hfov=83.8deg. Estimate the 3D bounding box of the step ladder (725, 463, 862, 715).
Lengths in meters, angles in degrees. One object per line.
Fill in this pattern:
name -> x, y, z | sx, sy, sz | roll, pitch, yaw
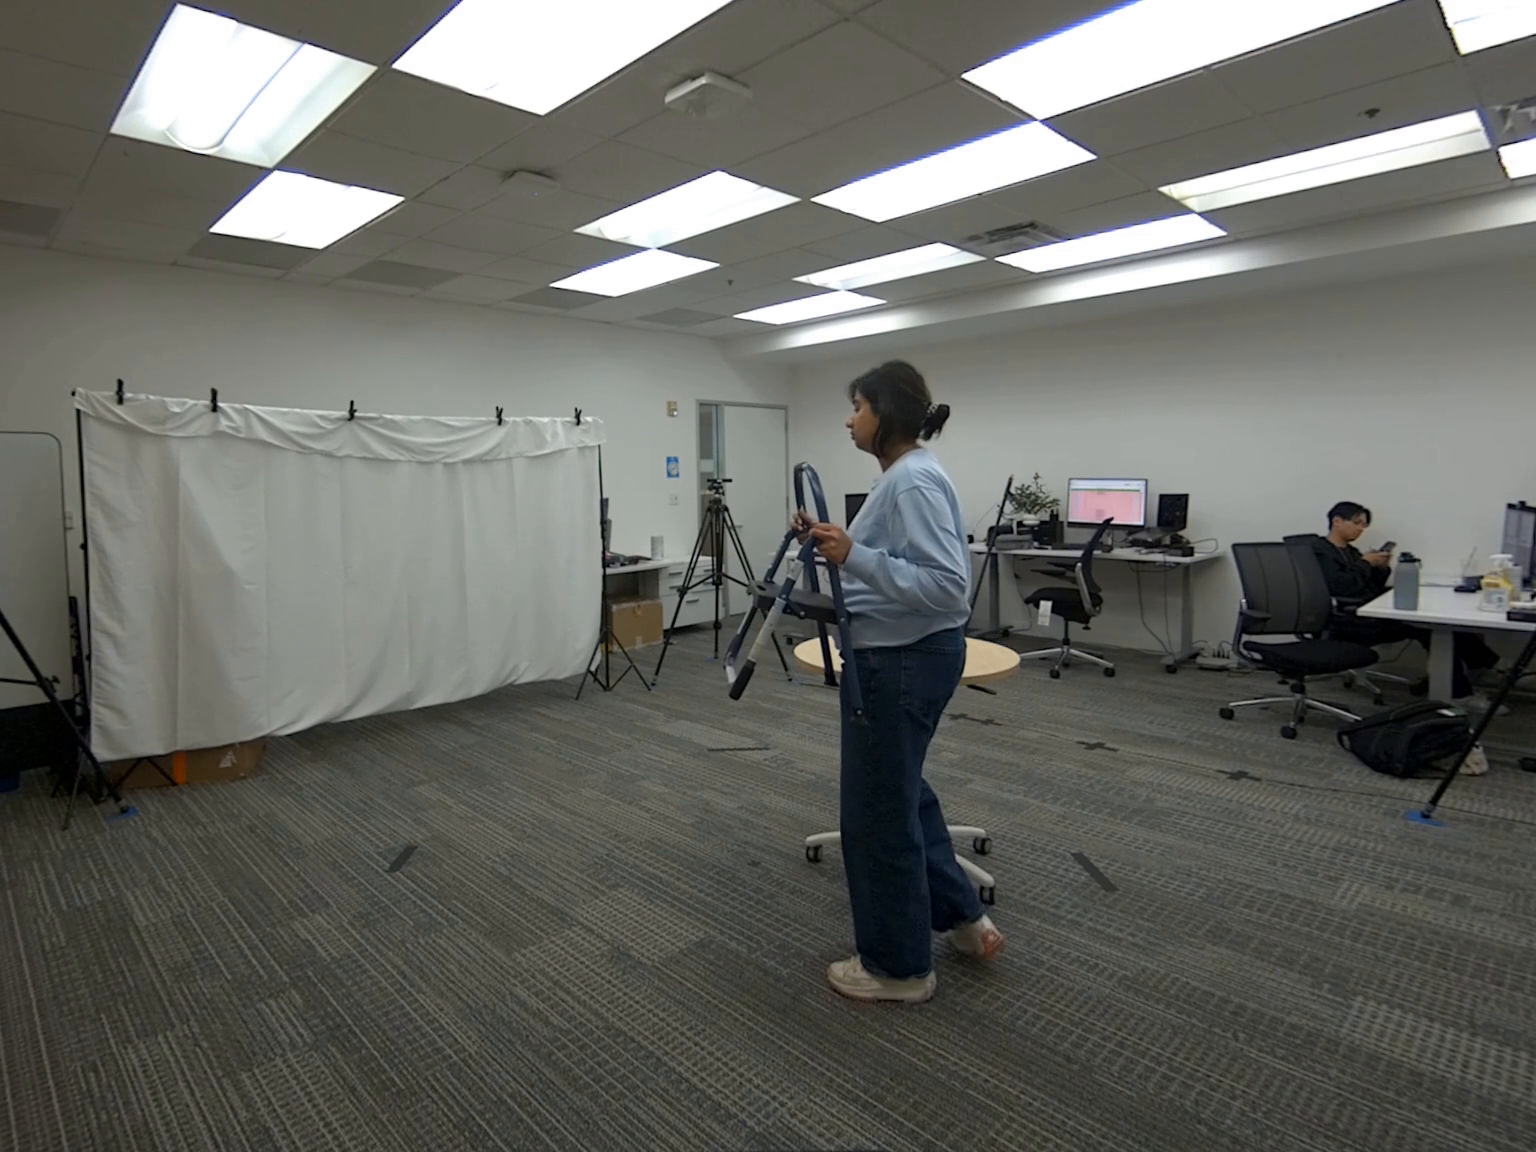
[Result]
step ladder -> 0.117, 0.009, 2.261 | 0.348, 0.605, 0.434 | 9, 3, -5
